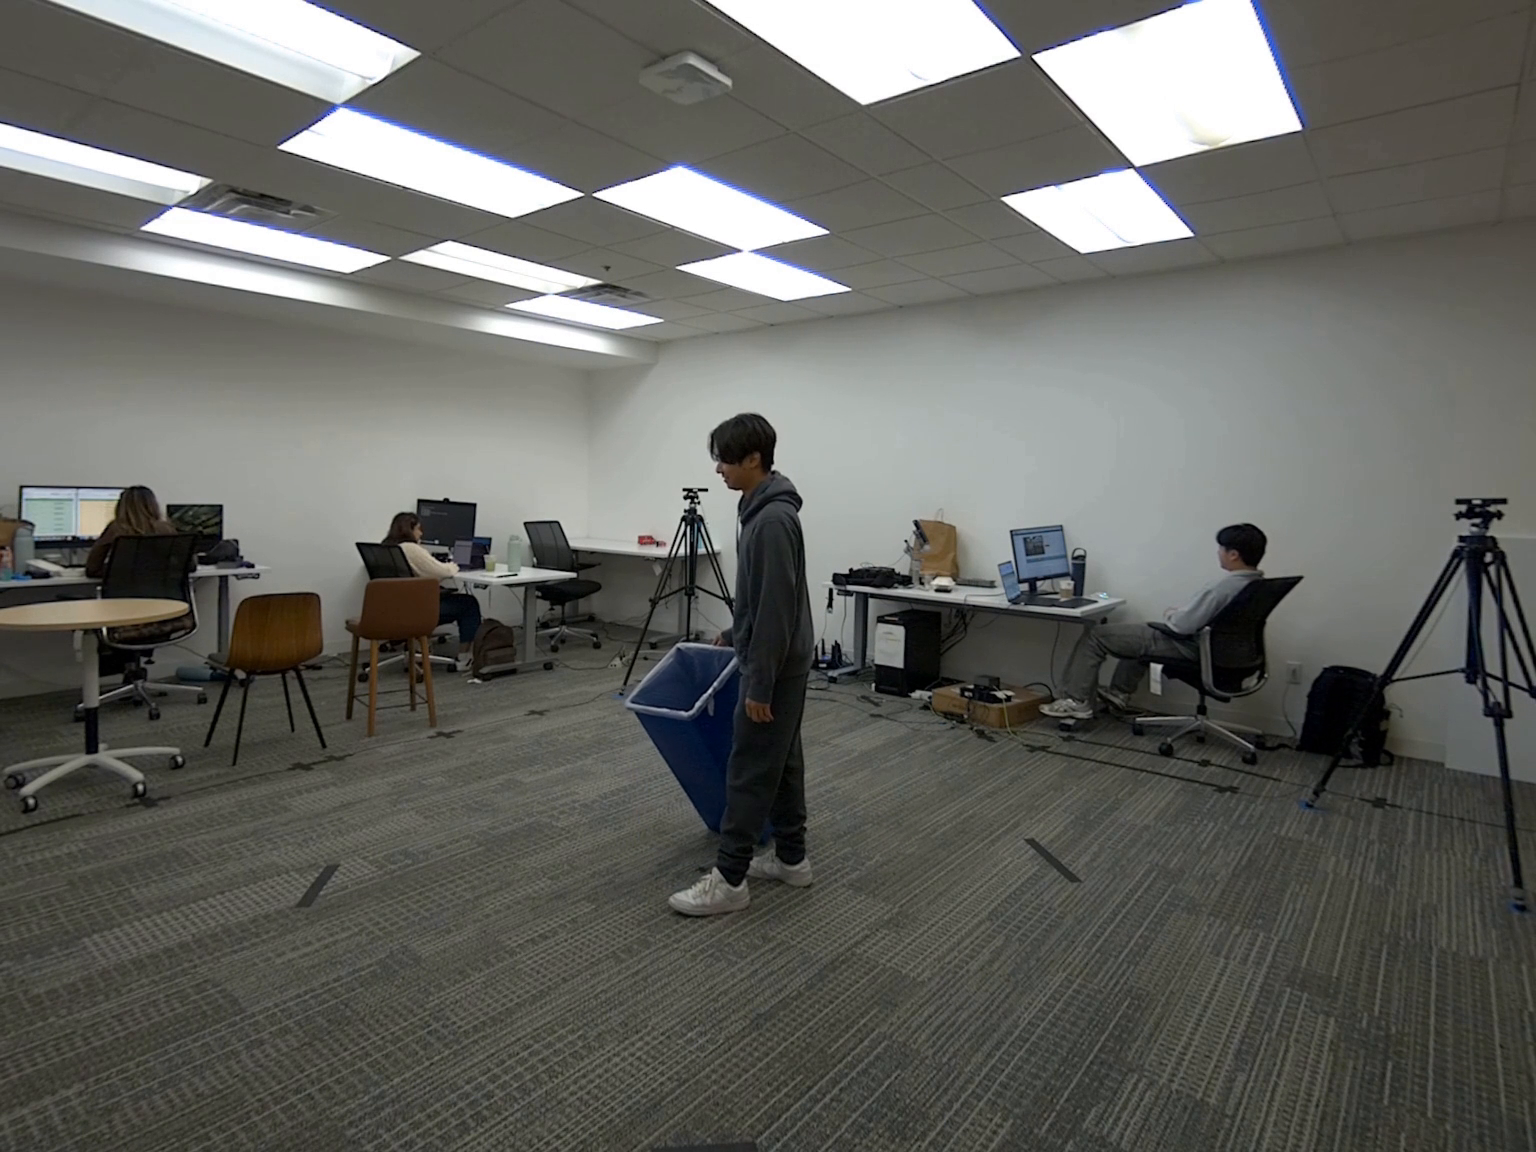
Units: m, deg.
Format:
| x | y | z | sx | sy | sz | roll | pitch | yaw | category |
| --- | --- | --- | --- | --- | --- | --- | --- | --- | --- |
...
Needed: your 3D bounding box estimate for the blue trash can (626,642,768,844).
| x | y | z | sx | sy | sz | roll | pitch | yaw | category |
| --- | --- | --- | --- | --- | --- | --- | --- | --- | --- |
| -0.211 | 0.664 | 3.336 | 0.386 | 0.693 | 0.377 | 0 | 34 | 41 | blue trash can |
